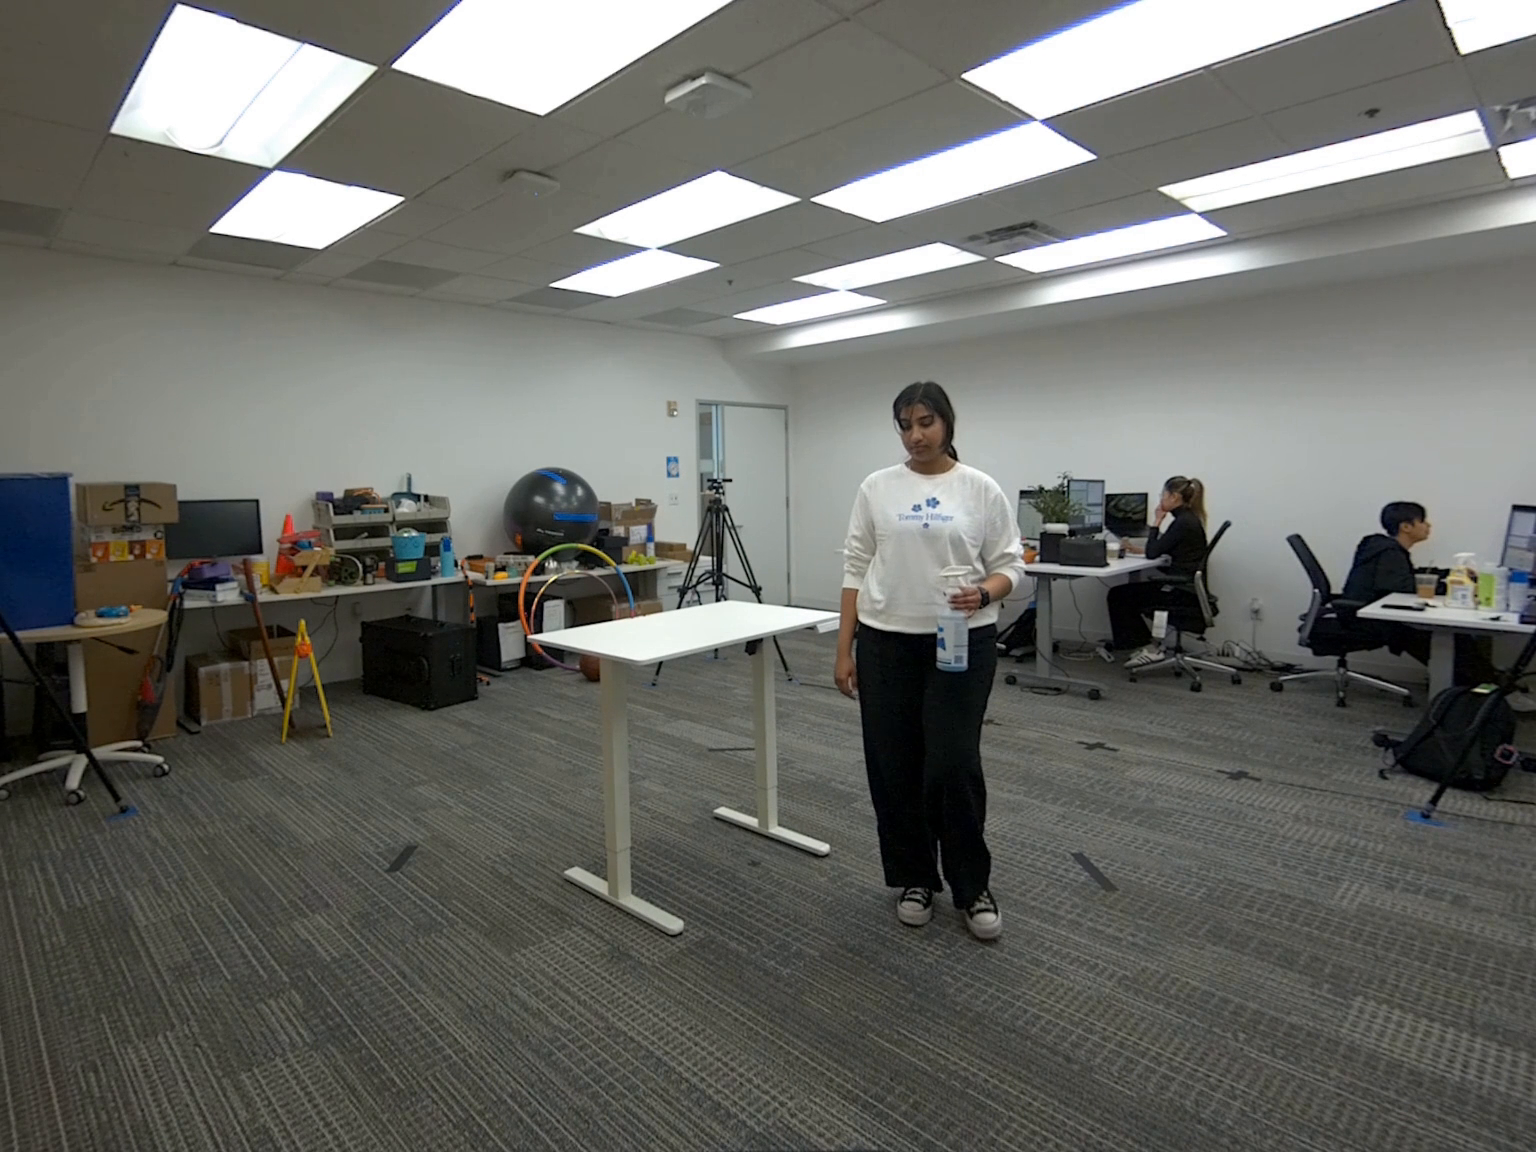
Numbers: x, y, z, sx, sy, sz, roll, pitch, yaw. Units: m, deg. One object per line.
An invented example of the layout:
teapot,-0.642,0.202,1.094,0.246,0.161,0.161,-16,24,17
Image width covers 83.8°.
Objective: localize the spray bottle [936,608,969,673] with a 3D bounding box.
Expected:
spray bottle,0.540,0.122,2.447,0.084,0.297,0.093,0,2,-40
